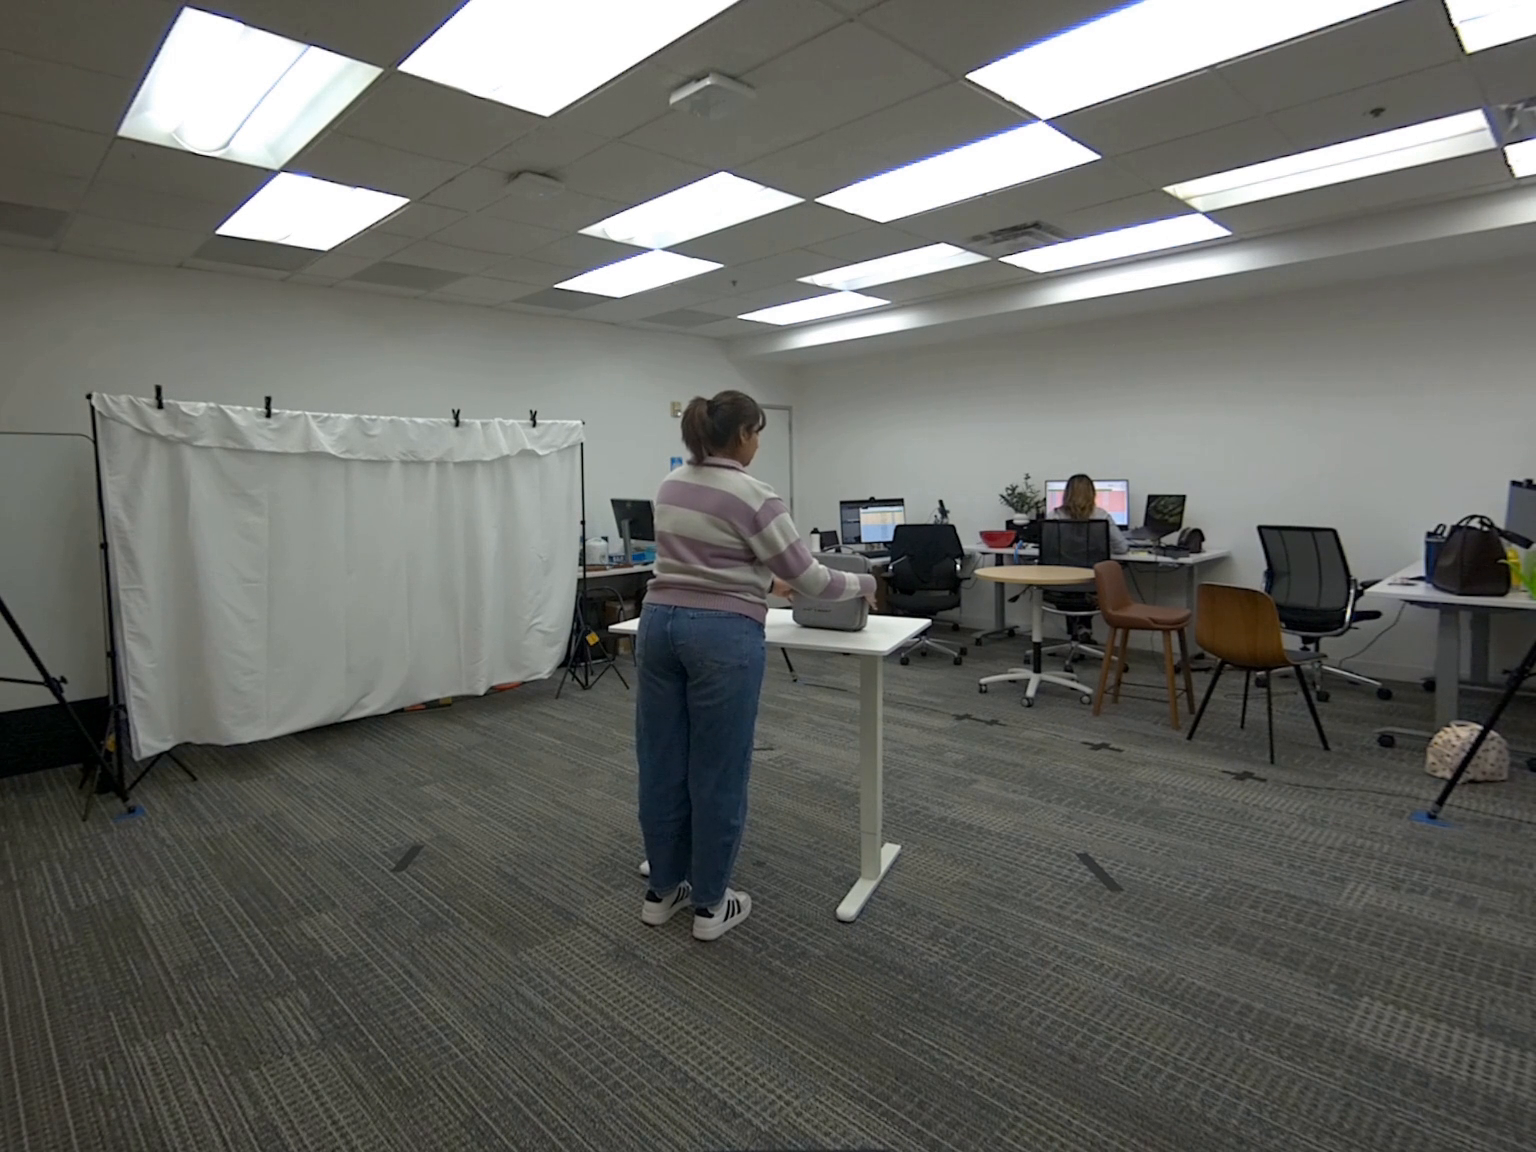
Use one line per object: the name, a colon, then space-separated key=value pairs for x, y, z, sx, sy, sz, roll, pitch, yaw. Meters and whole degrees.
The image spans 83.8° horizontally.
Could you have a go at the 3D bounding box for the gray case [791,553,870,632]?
gray case: x=0.223 y=0.047 z=2.948 sx=0.264 sy=0.261 sz=0.101 roll=5 pitch=-5 yaw=31
